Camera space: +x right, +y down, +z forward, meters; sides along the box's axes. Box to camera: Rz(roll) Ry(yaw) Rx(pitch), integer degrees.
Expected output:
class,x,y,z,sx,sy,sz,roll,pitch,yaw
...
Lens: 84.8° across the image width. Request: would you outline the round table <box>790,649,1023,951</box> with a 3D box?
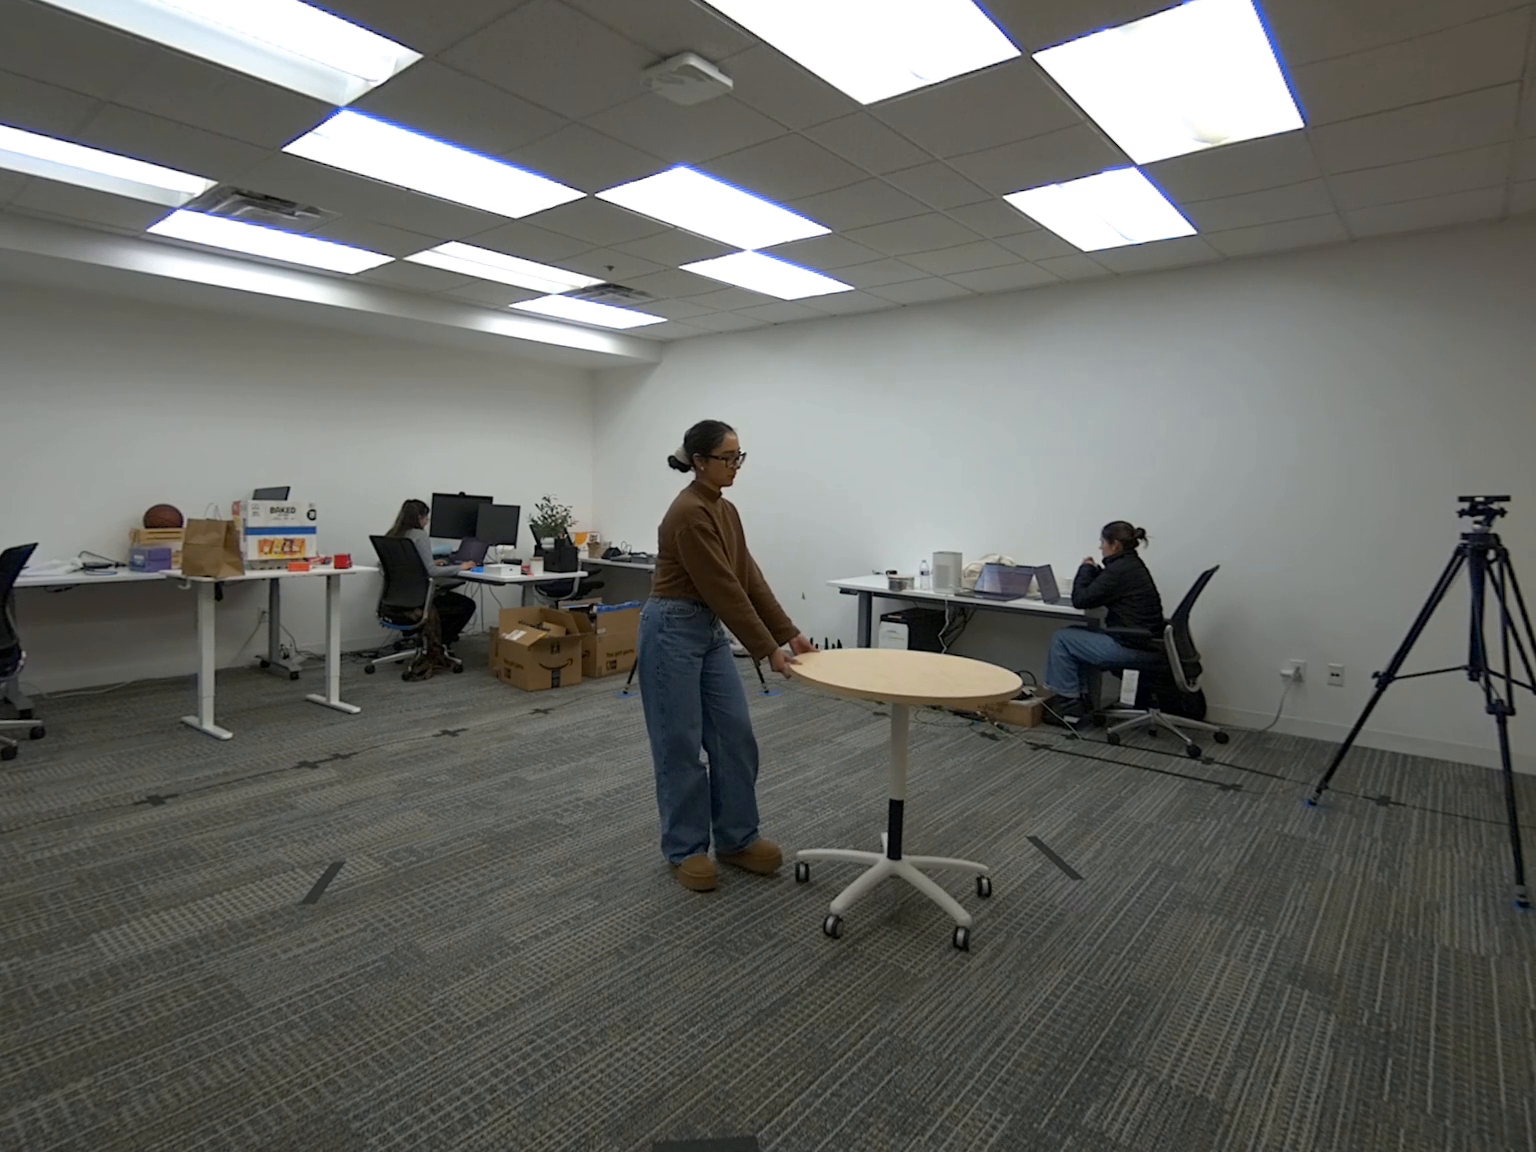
class,x,y,z,sx,sy,sz,roll,pitch,yaw
round table,0.406,0.705,2.879,0.784,0.784,0.789,2,4,-2
